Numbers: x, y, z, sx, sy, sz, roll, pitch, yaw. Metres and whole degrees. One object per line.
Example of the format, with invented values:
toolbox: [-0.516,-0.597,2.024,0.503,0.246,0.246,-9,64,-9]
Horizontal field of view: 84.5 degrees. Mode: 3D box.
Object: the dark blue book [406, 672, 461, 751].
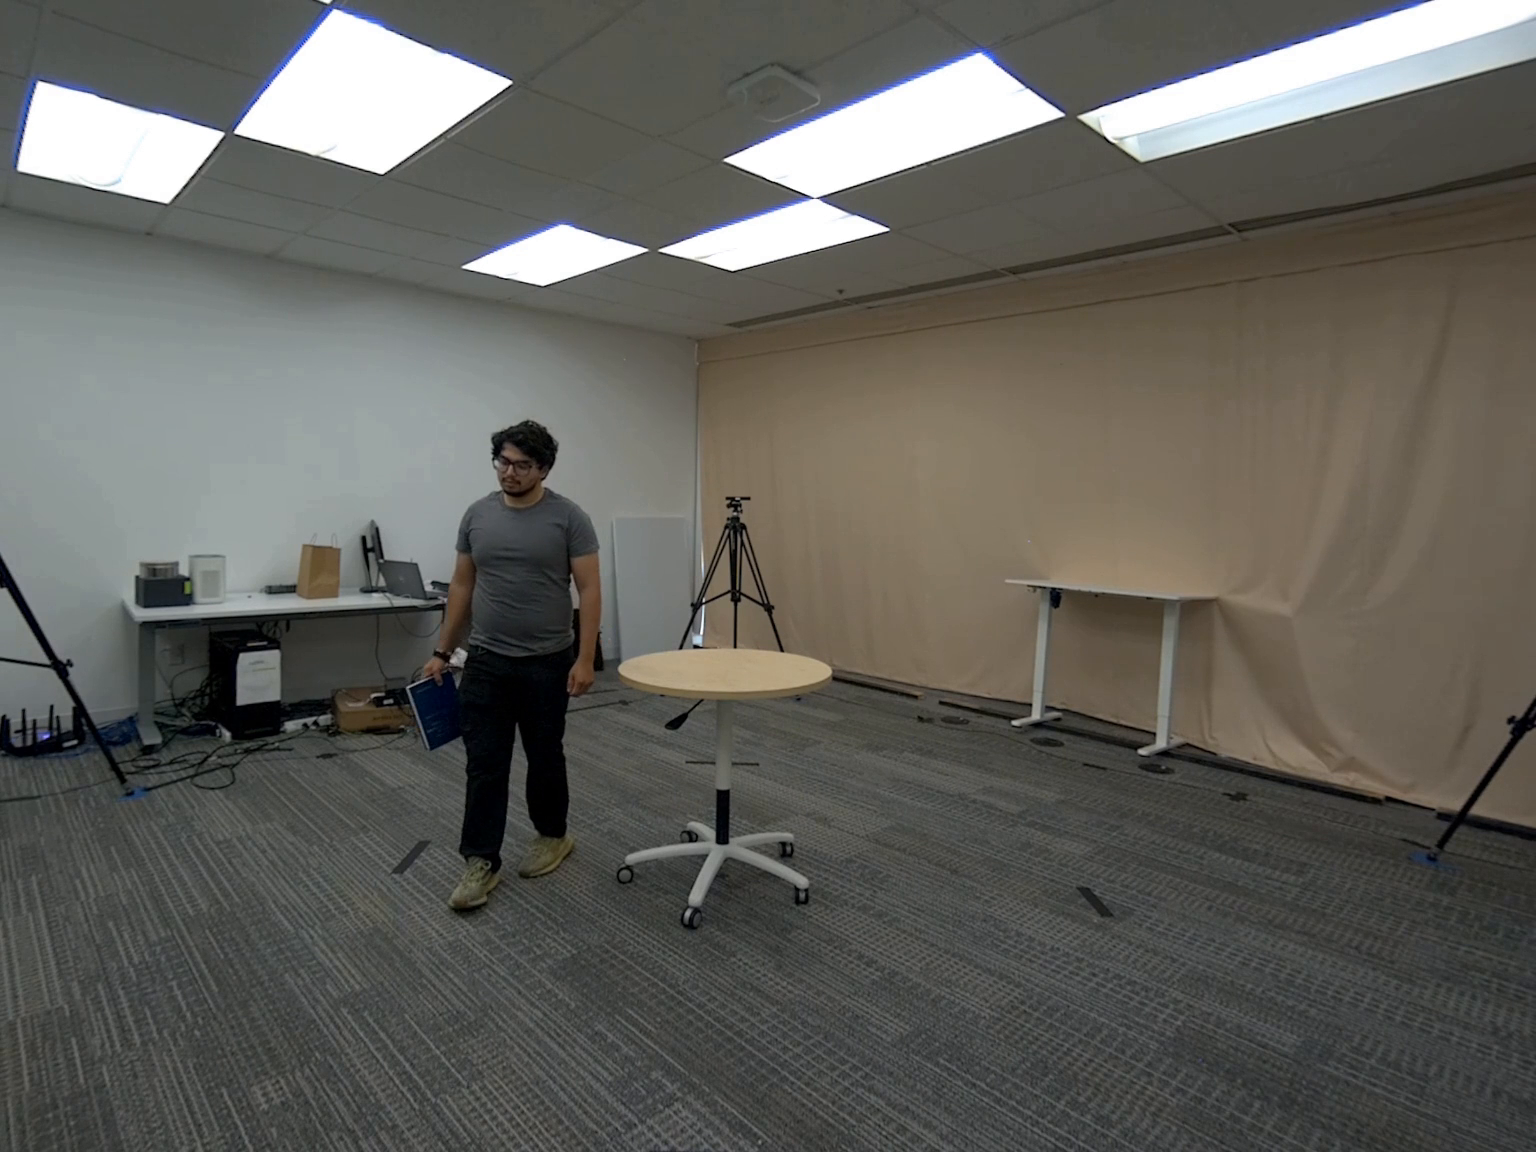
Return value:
dark blue book: [-1.191,0.478,3.032,0.161,0.243,0.046,-22,8,-38]
